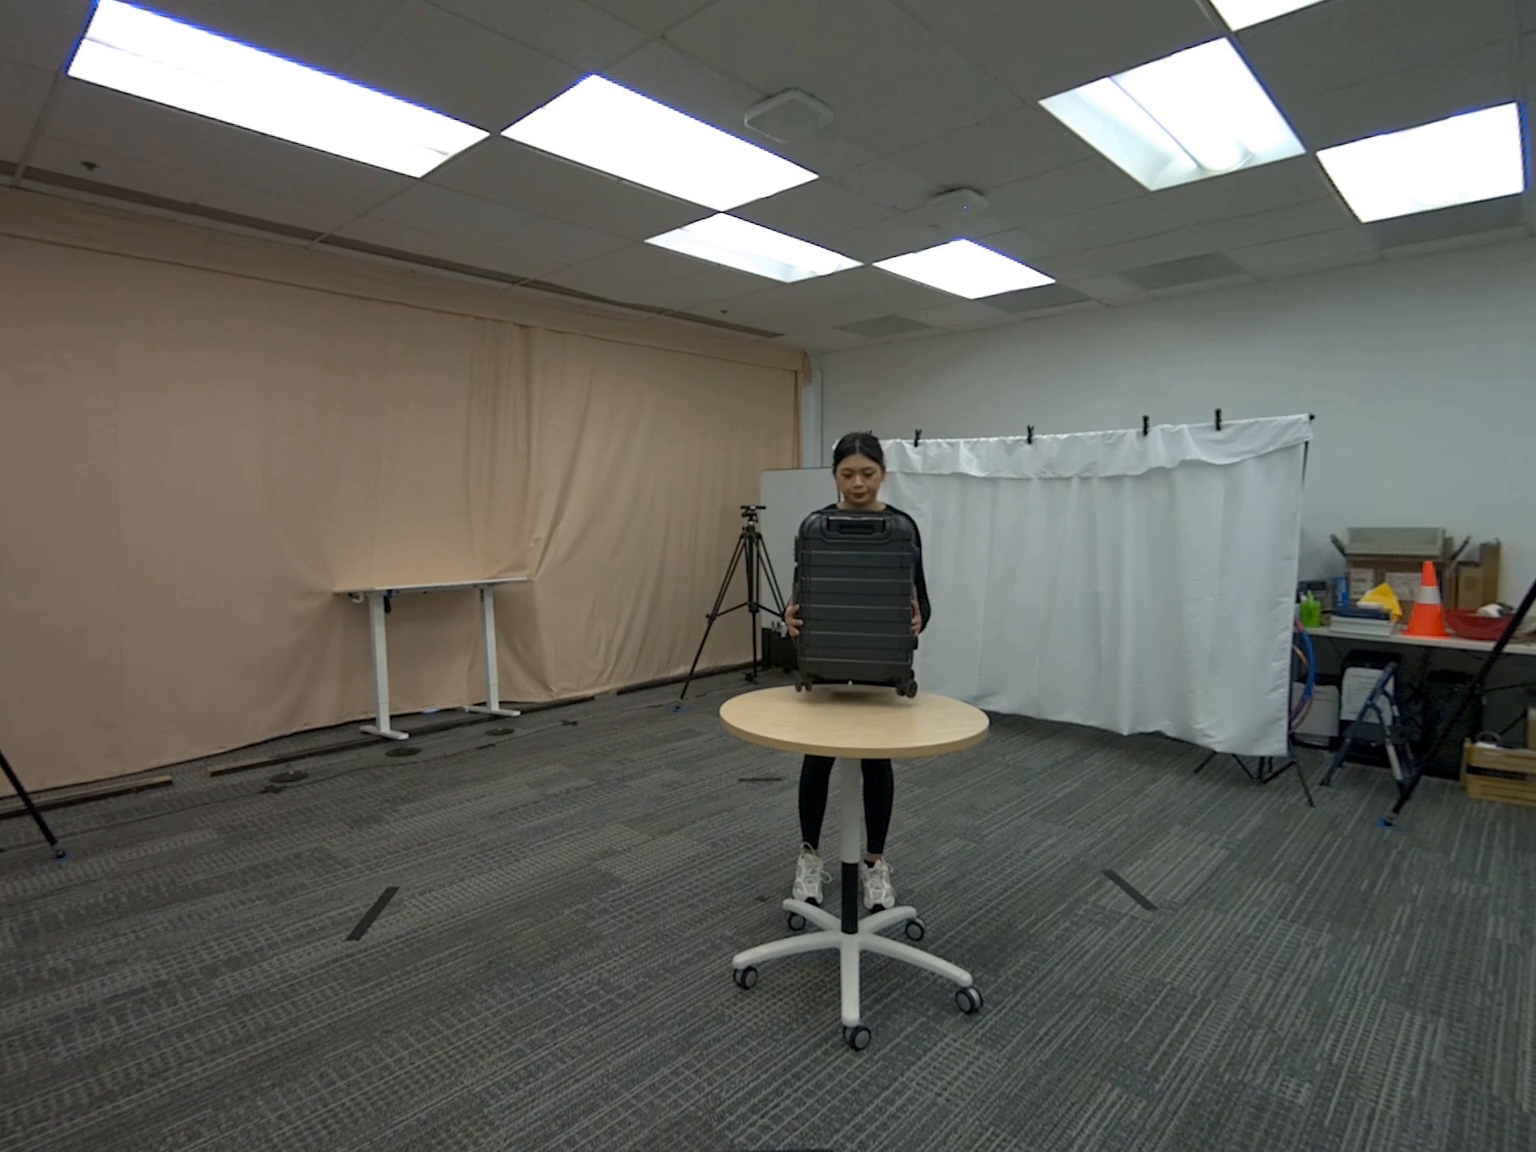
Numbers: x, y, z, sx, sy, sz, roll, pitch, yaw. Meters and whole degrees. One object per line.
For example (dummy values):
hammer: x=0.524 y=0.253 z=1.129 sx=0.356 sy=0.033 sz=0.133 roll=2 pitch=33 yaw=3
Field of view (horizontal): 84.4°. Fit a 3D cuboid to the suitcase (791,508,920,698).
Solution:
suitcase: x=0.267 y=0.072 z=2.609 sx=0.379 sy=0.548 sz=0.246 roll=1 pitch=3 yaw=9
